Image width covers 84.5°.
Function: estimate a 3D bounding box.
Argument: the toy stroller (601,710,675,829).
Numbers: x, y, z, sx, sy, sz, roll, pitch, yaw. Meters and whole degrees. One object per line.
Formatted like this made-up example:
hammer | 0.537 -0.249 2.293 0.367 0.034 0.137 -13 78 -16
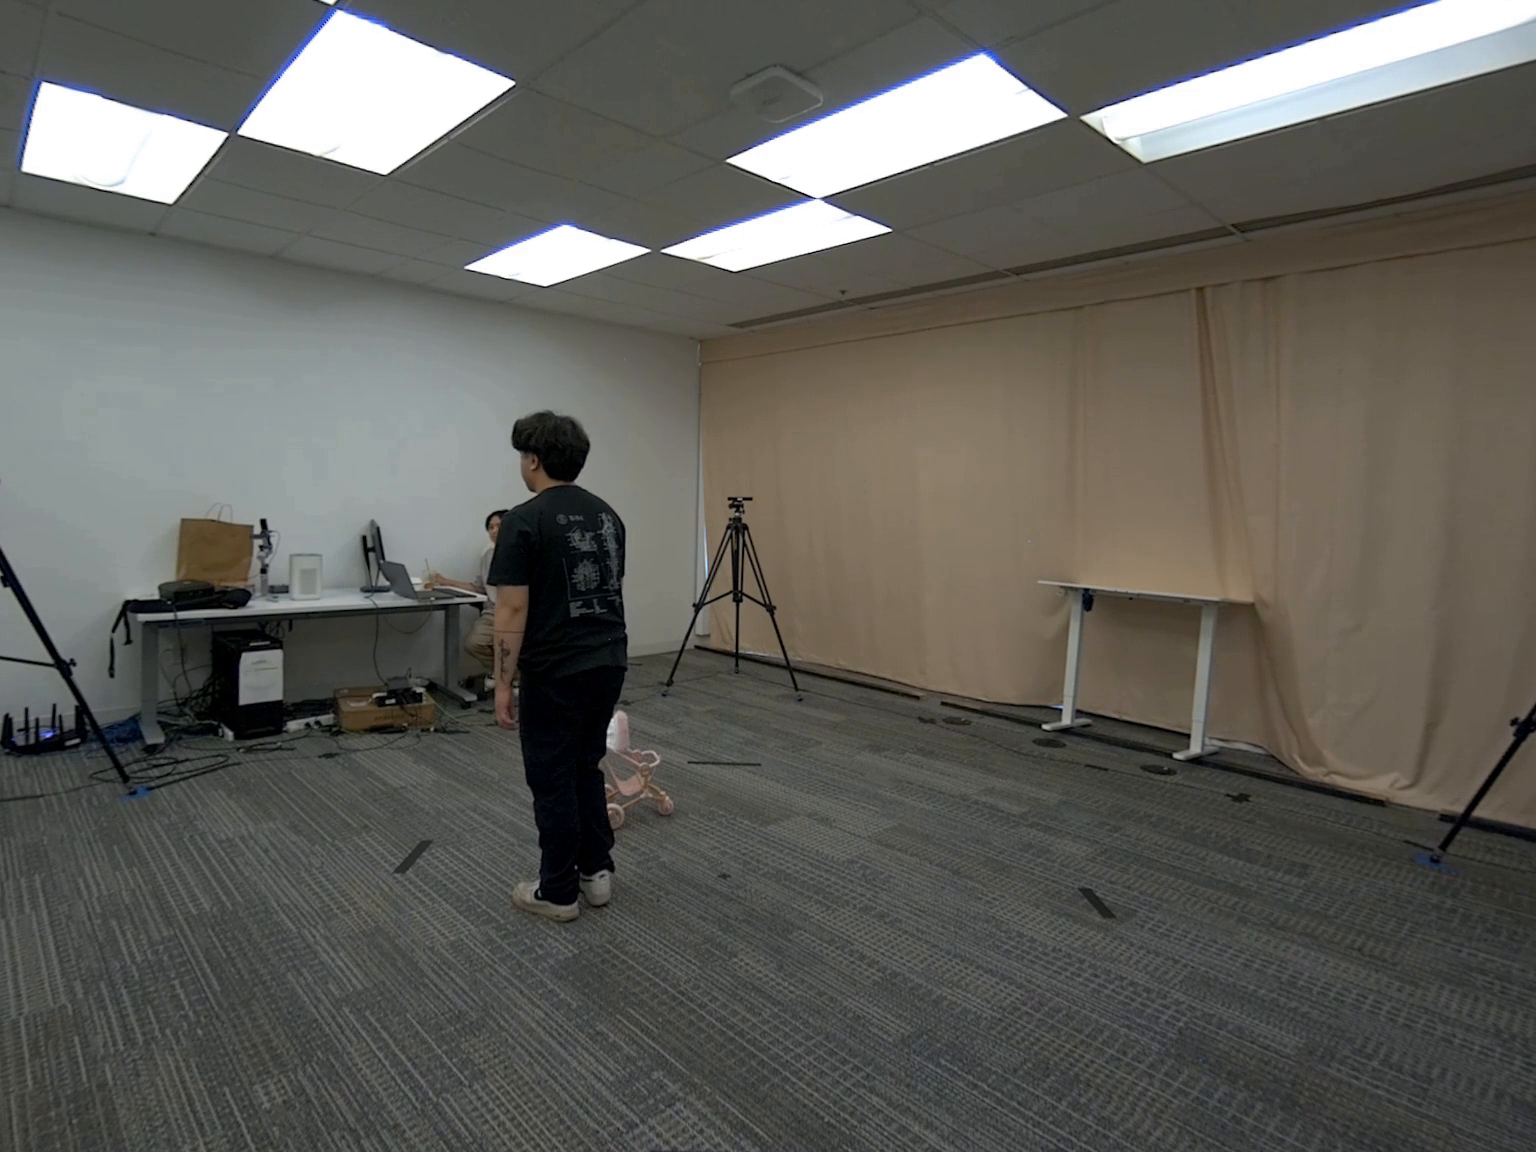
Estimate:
toy stroller | -0.628 0.824 3.646 0.339 0.532 0.285 -14 6 -10
